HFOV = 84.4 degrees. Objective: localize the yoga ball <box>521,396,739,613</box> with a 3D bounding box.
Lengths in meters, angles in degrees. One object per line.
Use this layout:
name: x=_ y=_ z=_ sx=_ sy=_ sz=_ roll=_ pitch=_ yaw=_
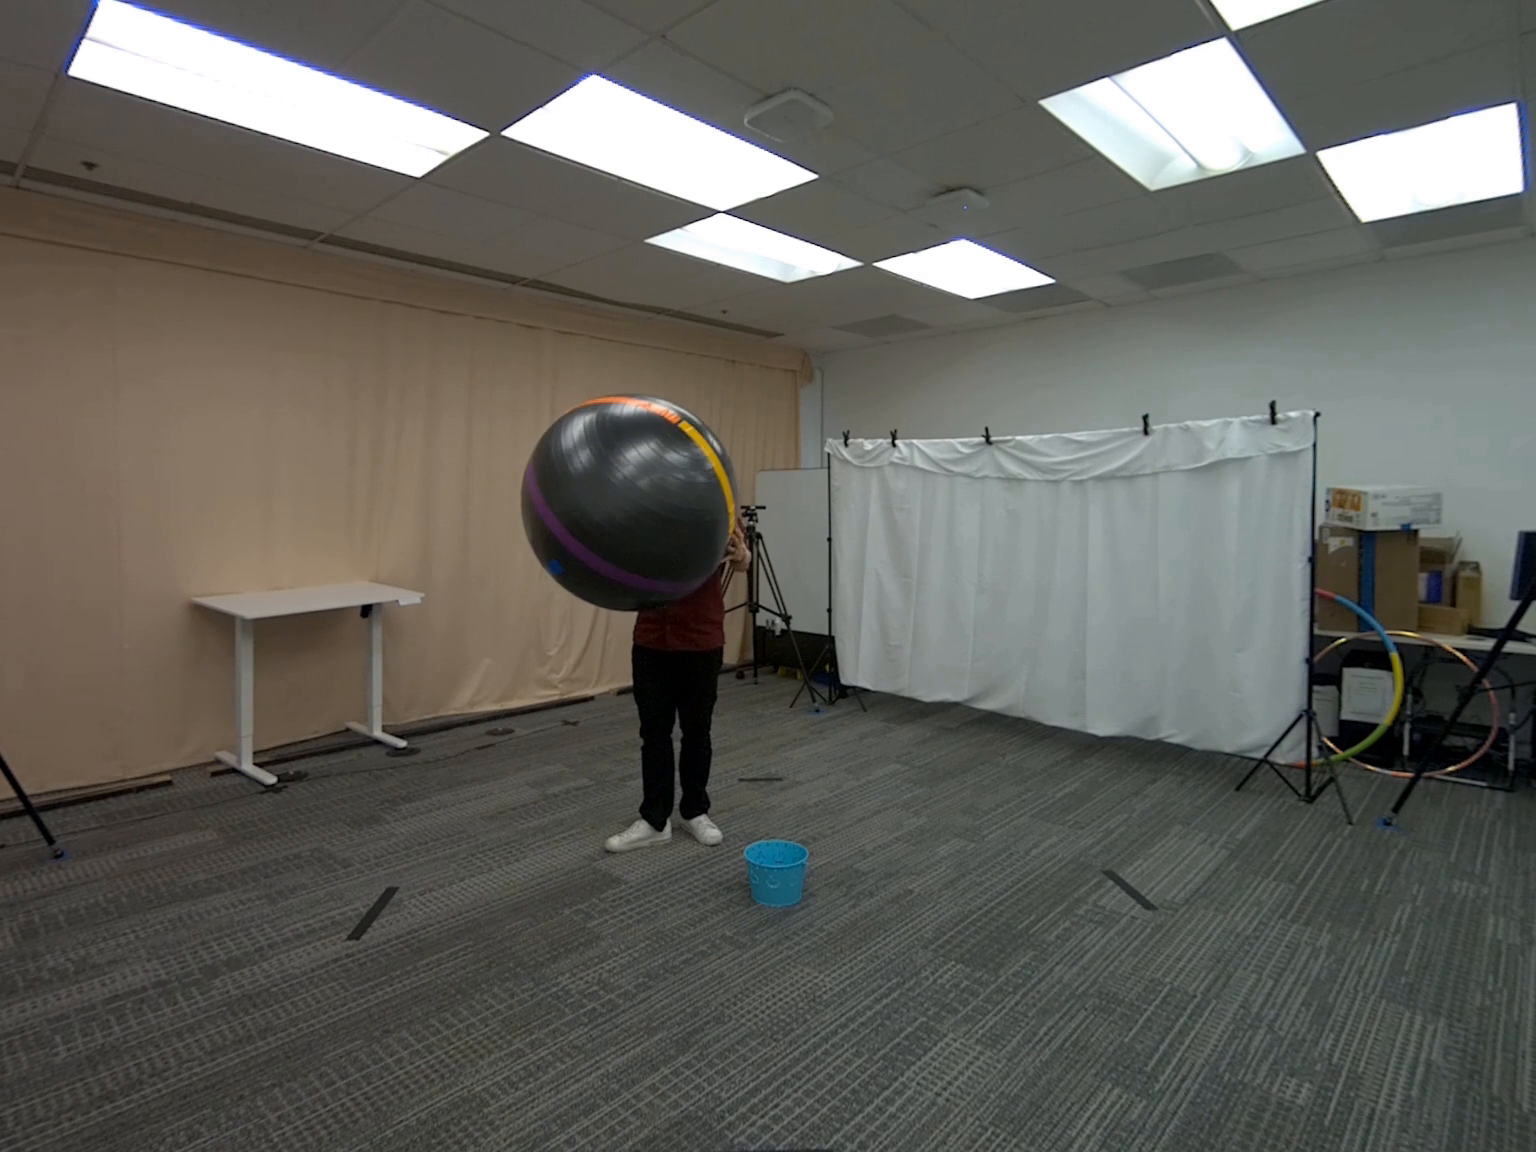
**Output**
yoga ball: x=-0.480 y=-0.254 z=2.950 sx=0.757 sy=0.756 sz=0.761 roll=0 pitch=4 yaw=-2
